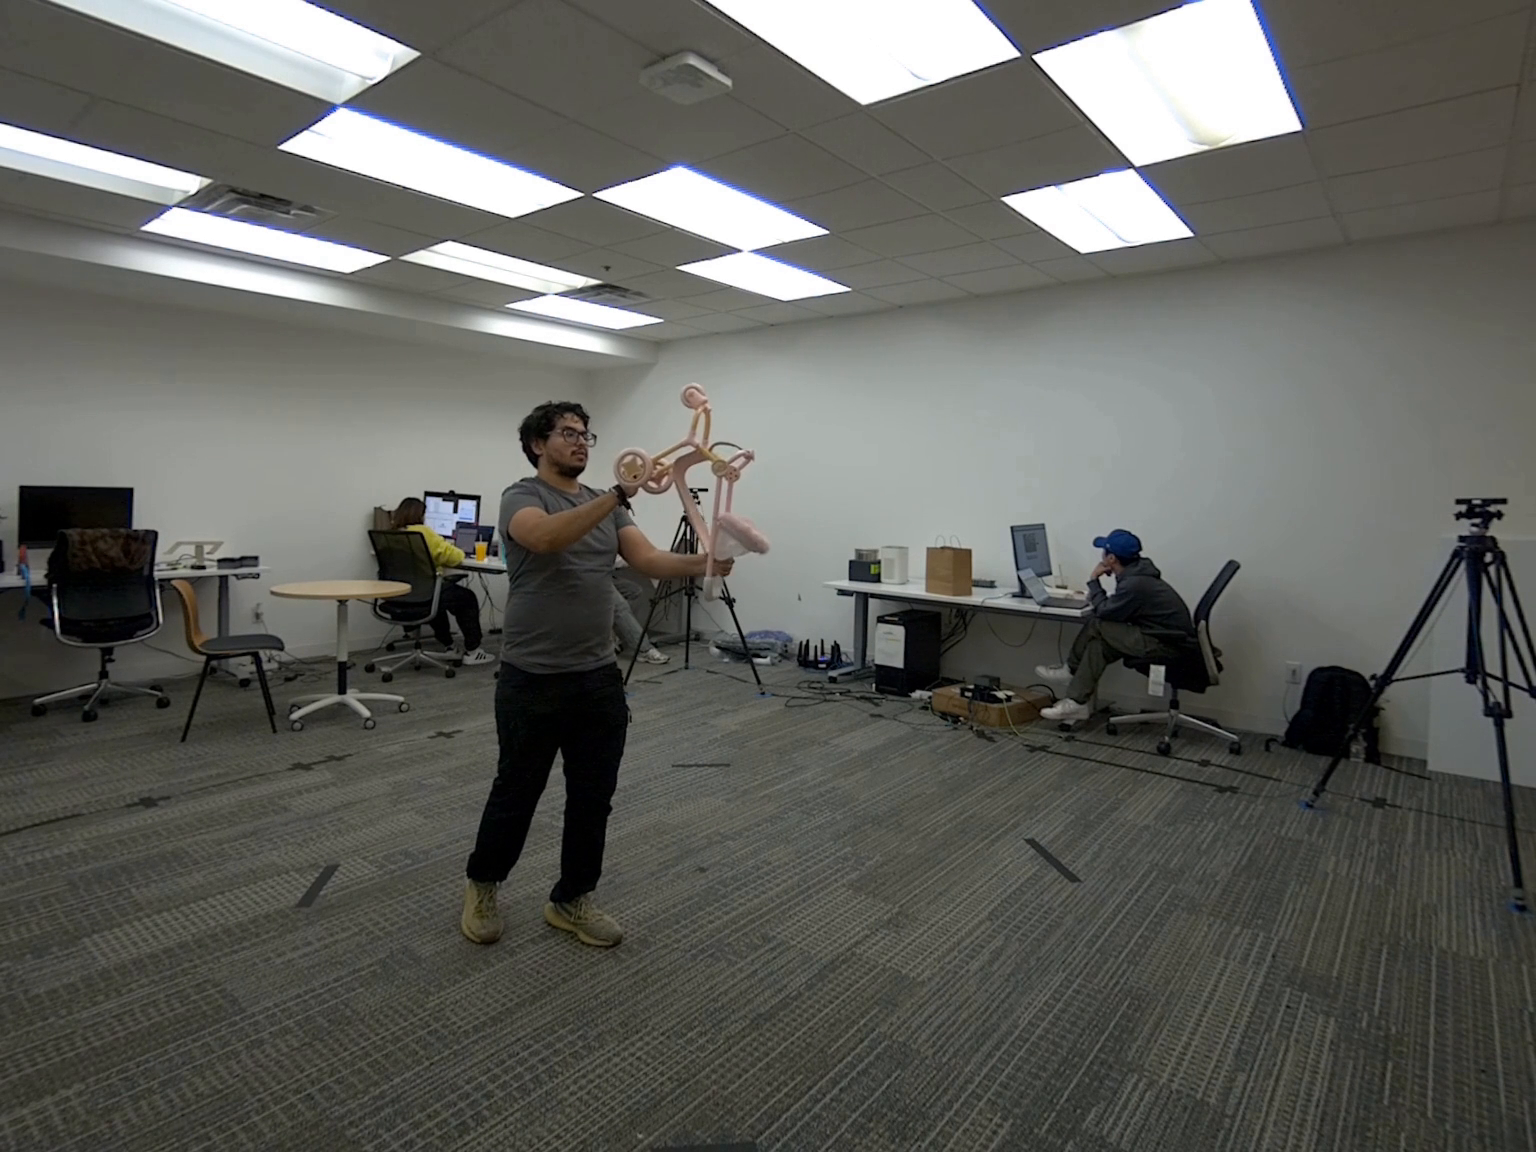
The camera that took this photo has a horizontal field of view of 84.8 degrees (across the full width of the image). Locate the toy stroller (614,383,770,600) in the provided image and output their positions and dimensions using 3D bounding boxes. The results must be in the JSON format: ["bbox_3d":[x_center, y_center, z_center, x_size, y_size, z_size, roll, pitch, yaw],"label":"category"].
[{"bbox_3d":[-0.191,-0.242,2.373,0.341,0.541,0.278,-37,-7,2],"label":"toy stroller"}]
